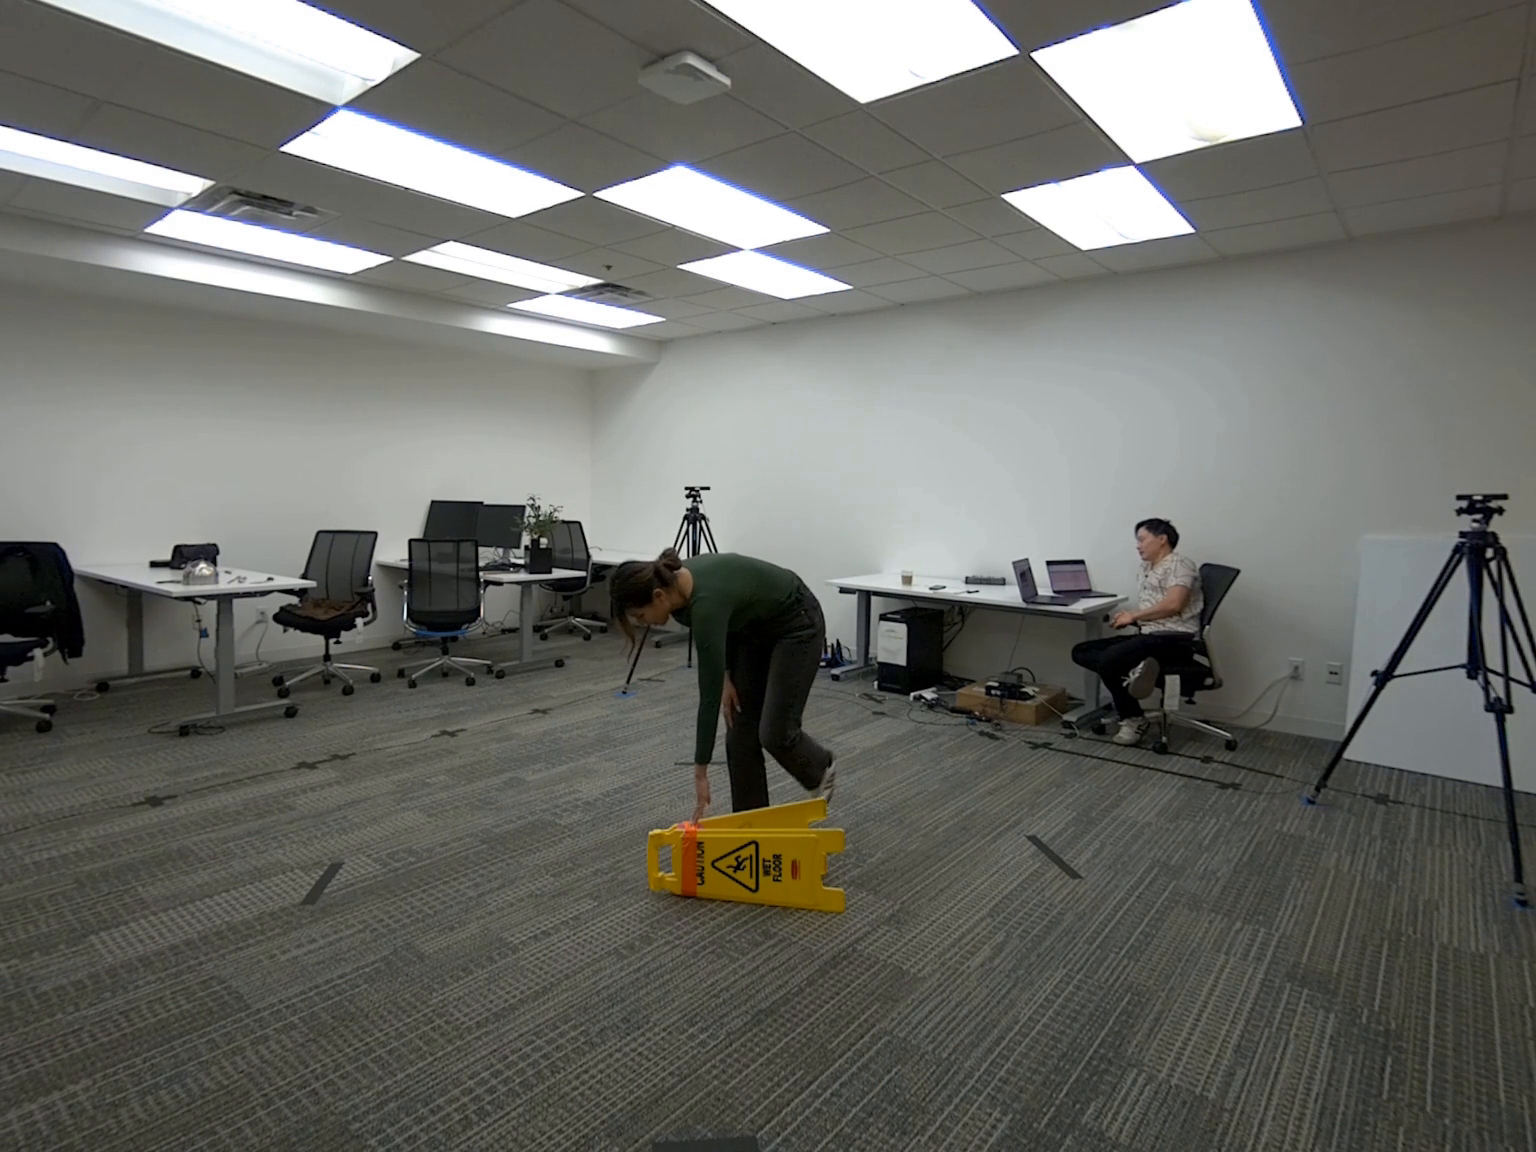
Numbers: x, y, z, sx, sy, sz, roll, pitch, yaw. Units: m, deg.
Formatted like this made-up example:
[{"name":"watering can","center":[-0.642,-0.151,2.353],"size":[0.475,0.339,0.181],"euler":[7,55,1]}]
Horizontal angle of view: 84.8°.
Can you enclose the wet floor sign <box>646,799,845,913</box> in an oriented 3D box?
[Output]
[{"name":"wet floor sign","center":[-0.100,0.953,2.909],"size":[0.642,0.281,0.292],"euler":[-2,5,-6]}]
